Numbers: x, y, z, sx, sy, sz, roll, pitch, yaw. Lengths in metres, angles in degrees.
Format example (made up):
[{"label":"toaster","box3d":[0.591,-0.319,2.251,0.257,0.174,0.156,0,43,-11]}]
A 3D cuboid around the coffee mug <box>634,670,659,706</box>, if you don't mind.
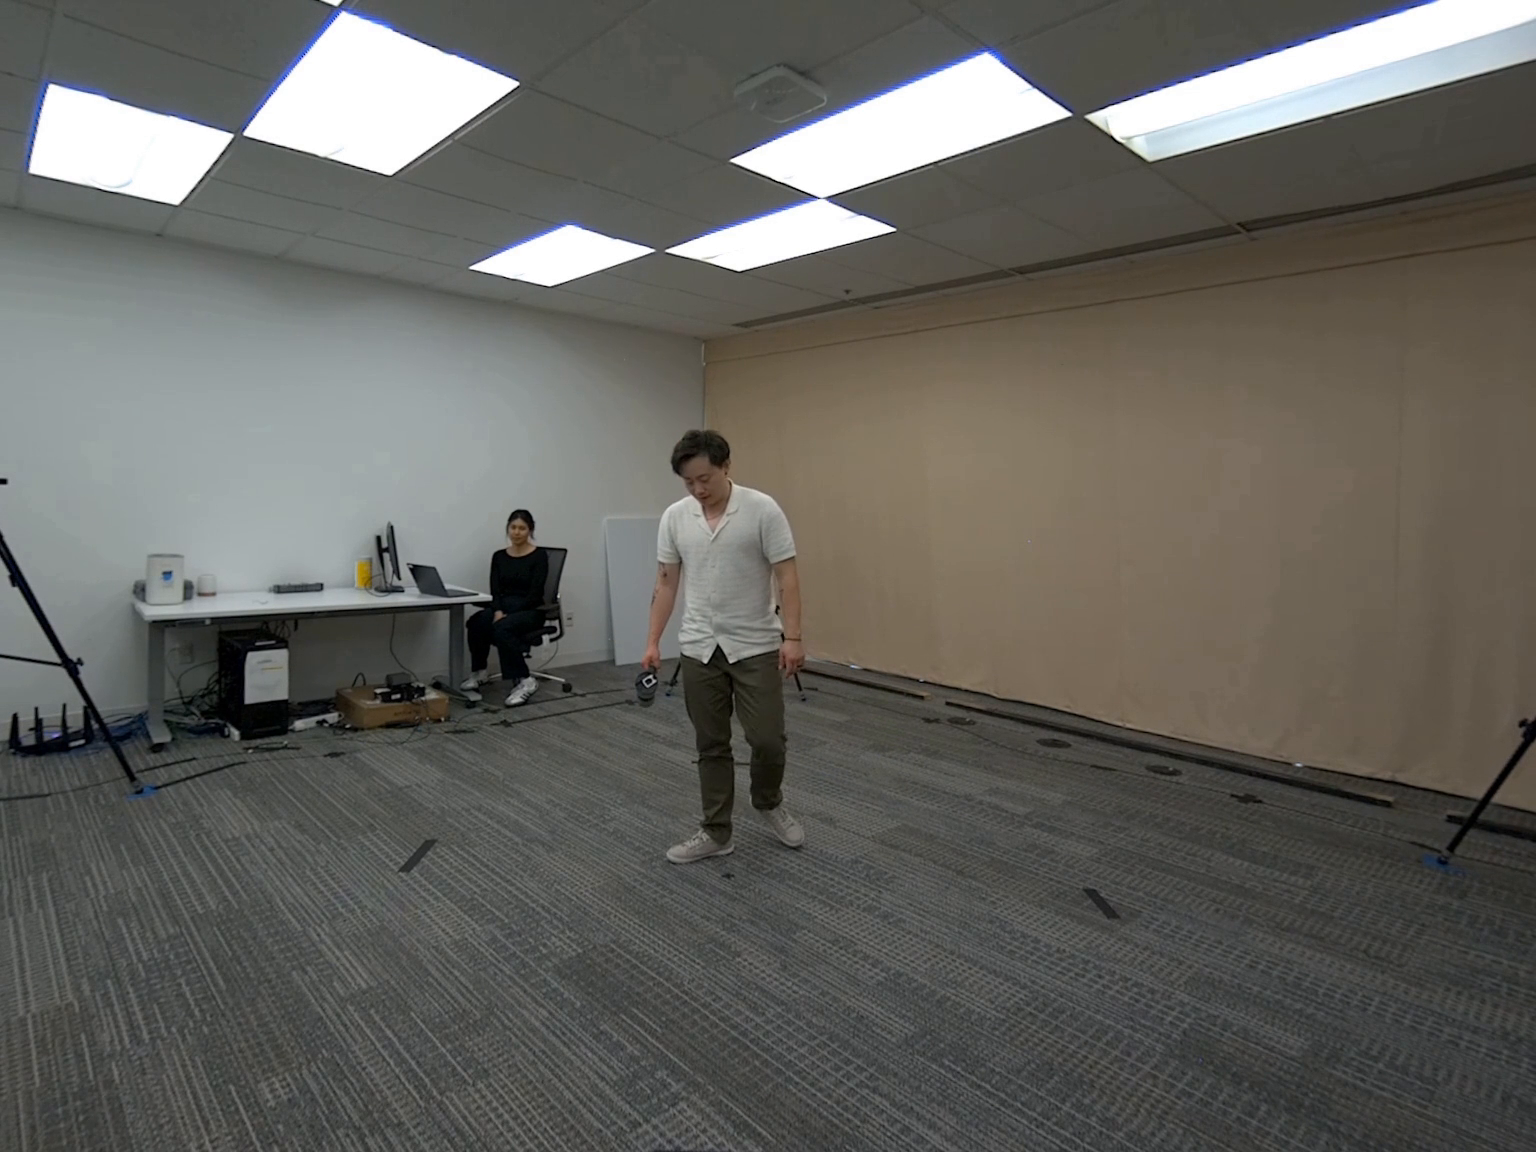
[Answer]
[{"label":"coffee mug","box3d":[-0.449,0.421,3.244,0.089,0.122,0.200,36,-25,12]}]
